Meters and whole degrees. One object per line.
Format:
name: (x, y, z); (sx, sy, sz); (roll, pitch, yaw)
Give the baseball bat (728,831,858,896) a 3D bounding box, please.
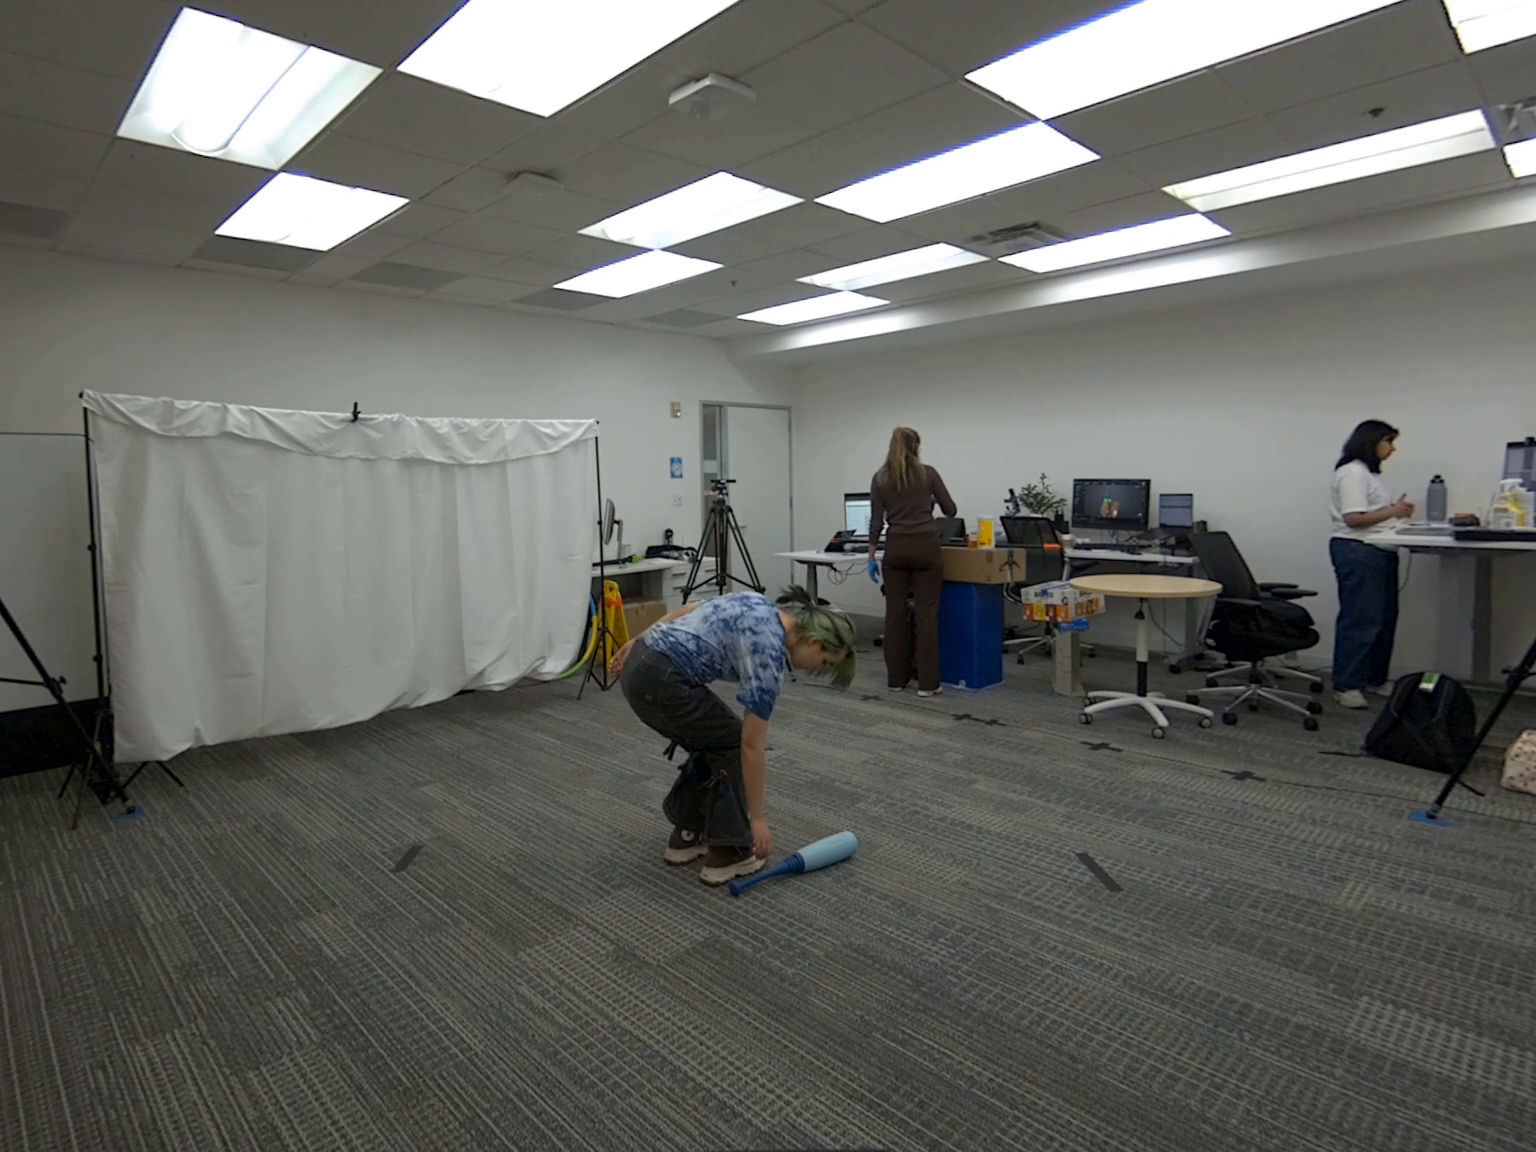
baseball bat: (0.095, 1.015, 3.011); (0.531, 0.088, 0.091); (-9, 8, -33)
